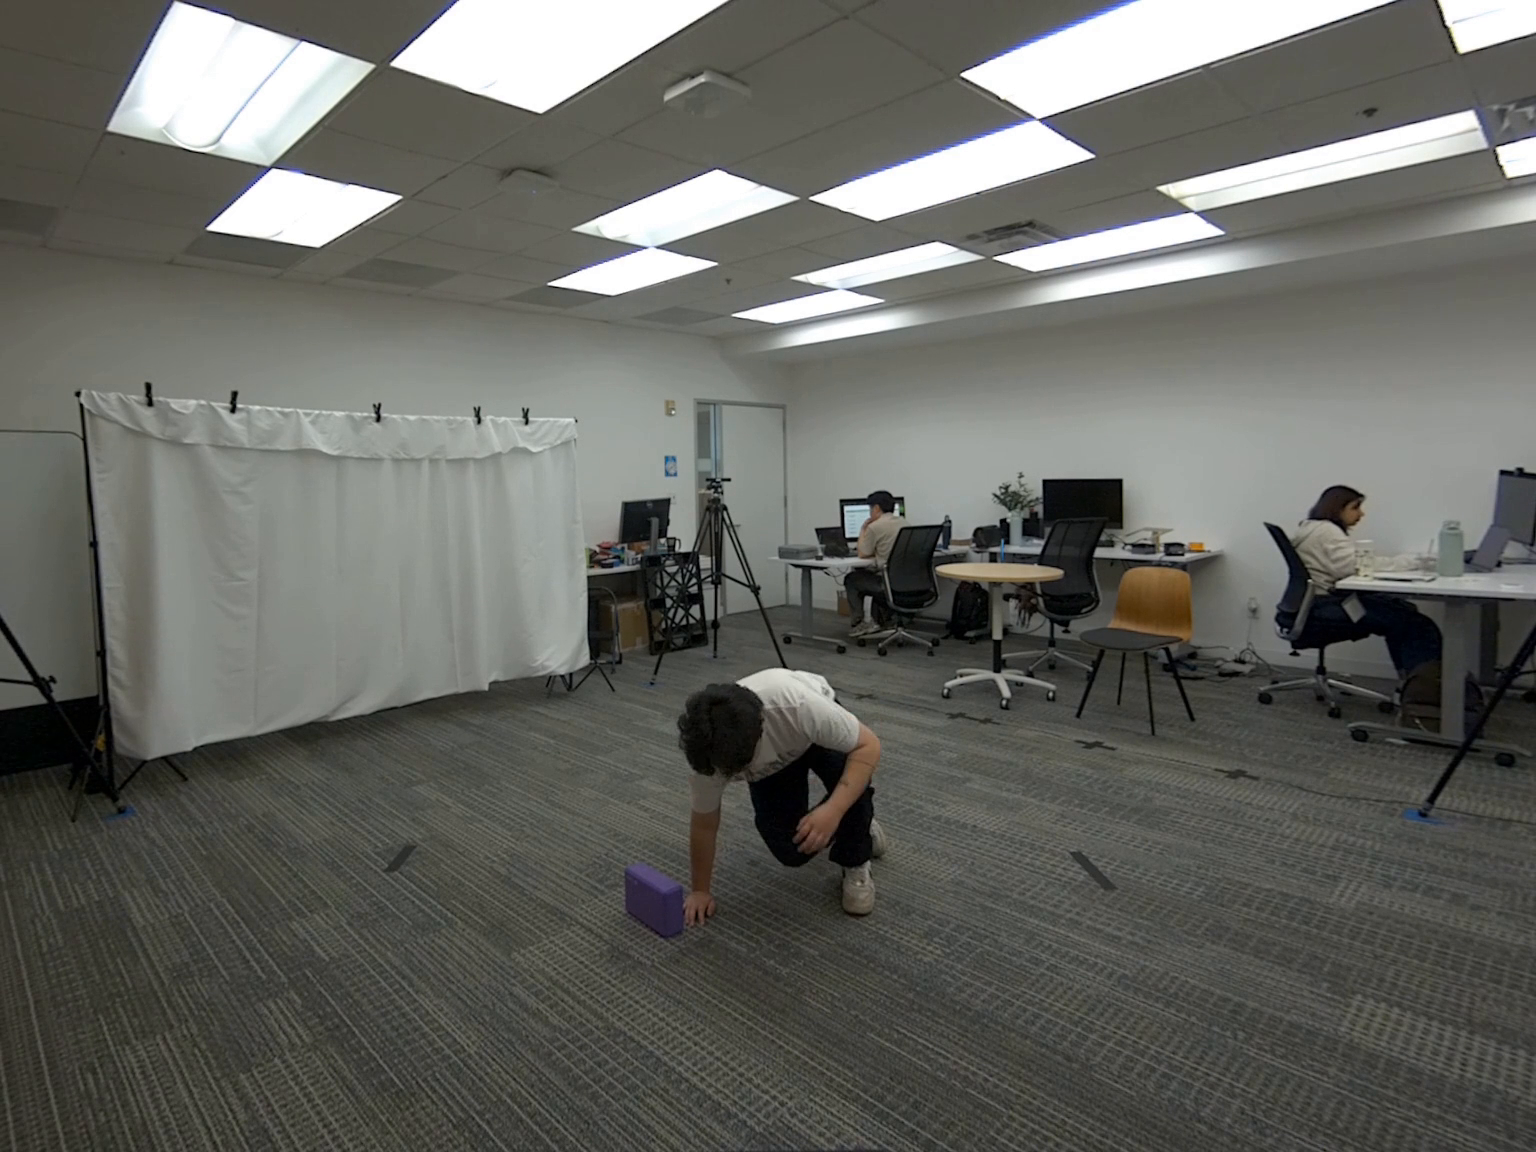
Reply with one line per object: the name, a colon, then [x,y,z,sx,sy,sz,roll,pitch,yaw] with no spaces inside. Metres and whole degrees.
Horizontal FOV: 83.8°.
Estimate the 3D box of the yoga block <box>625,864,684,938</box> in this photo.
yoga block: [-0.356,1.021,2.699,0.074,0.148,0.236,-8,8,-41]
